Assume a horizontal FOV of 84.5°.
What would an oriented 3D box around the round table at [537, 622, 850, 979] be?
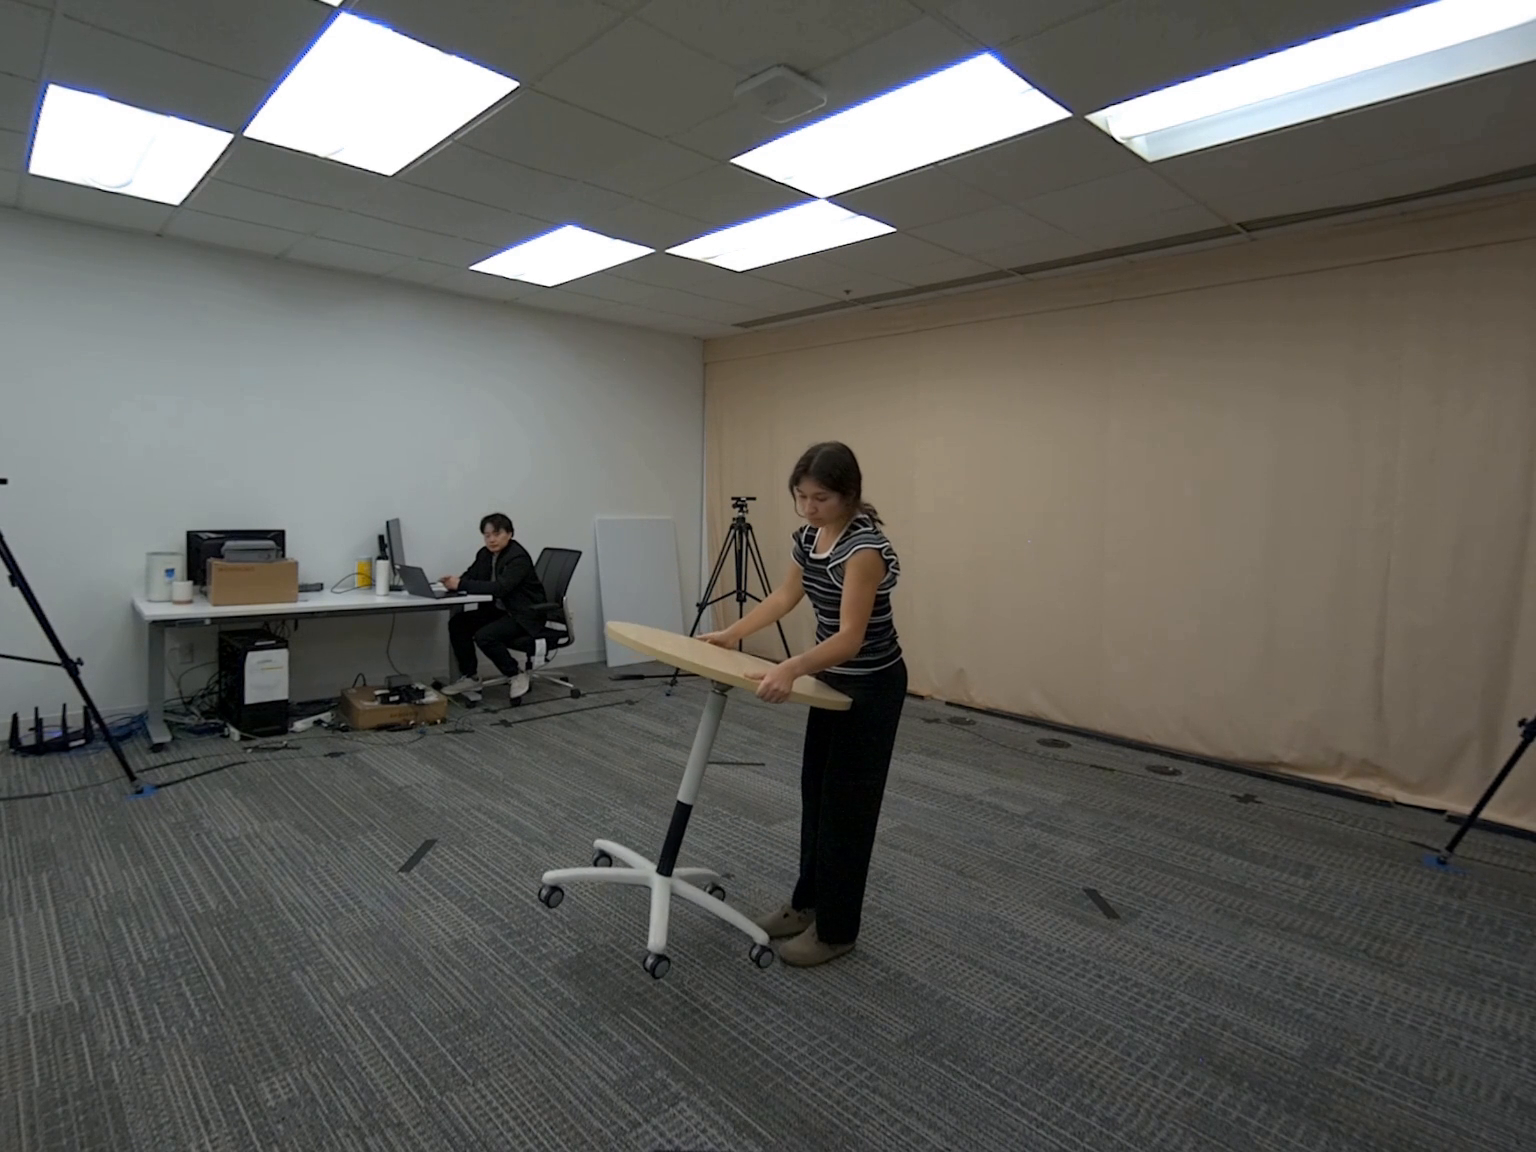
[{"bbox_3d":[-0.236,0.640,2.498,0.764,0.795,0.763,16,-2,-1],"label":"round table"}]
